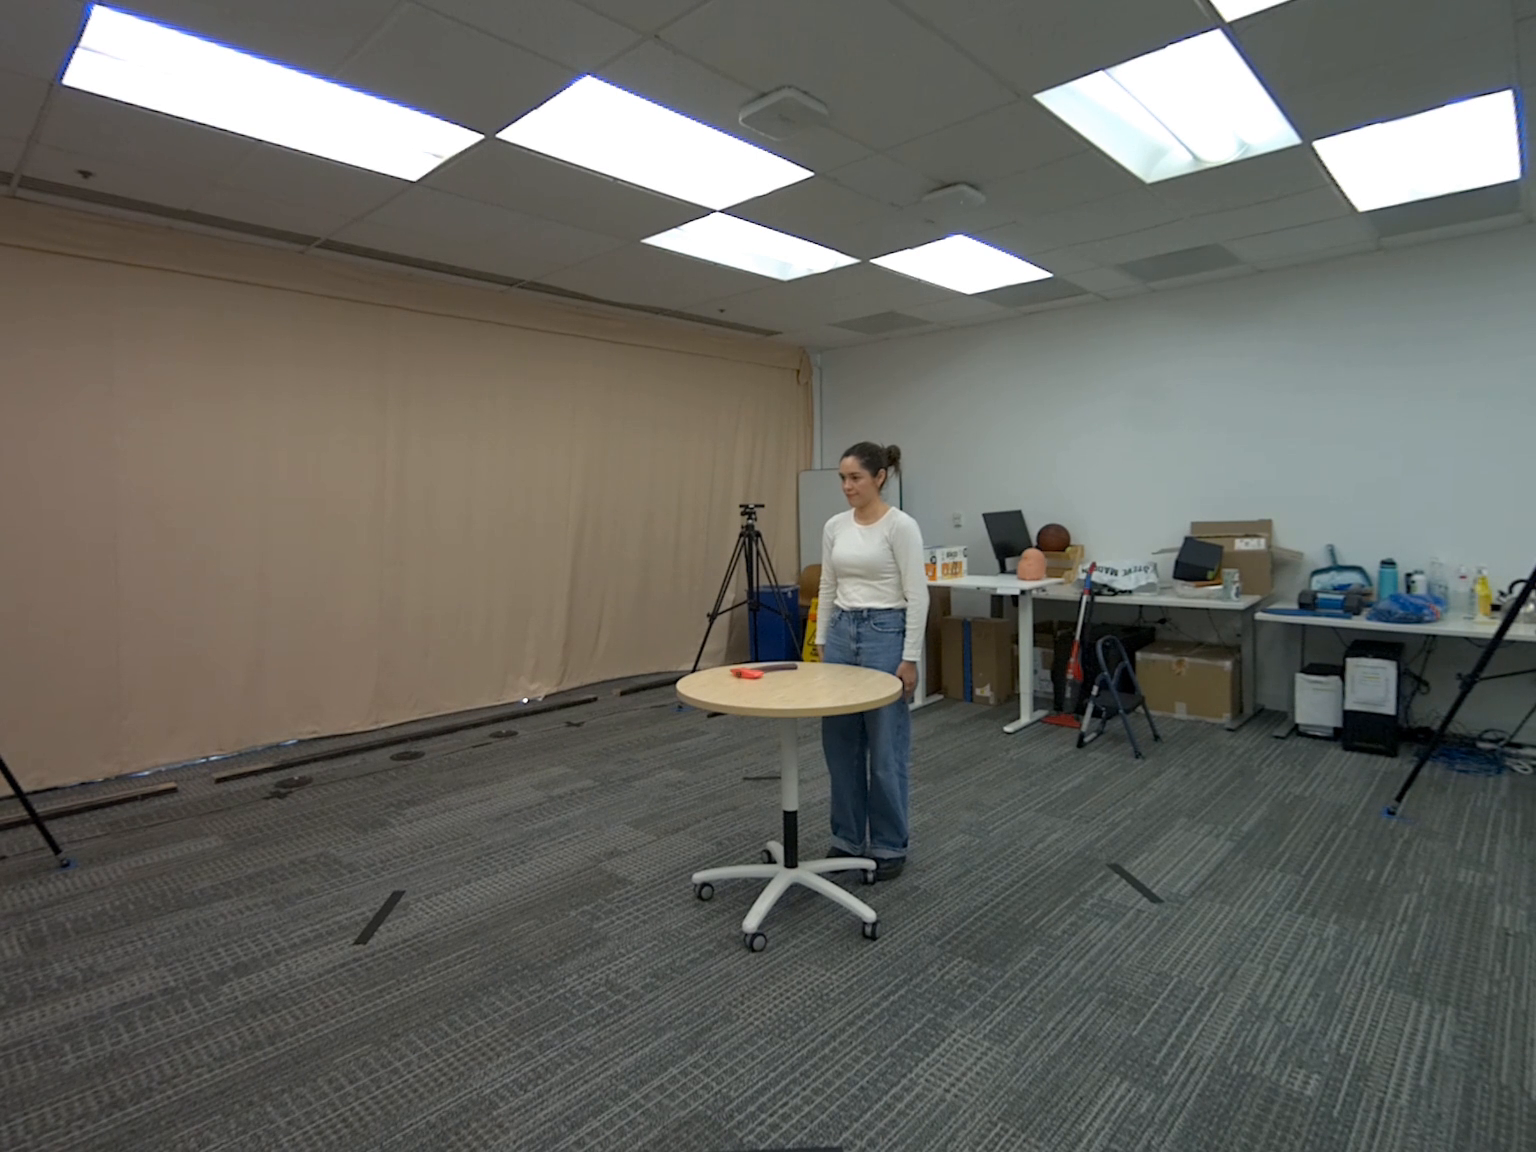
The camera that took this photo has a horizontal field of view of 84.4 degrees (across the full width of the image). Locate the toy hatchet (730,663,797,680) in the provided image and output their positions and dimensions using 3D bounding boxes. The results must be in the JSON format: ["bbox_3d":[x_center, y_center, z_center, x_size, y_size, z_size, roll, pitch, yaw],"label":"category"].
[{"bbox_3d":[0.005,0.346,3.022,0.263,0.029,0.134,-1,5,-26],"label":"toy hatchet"}]
